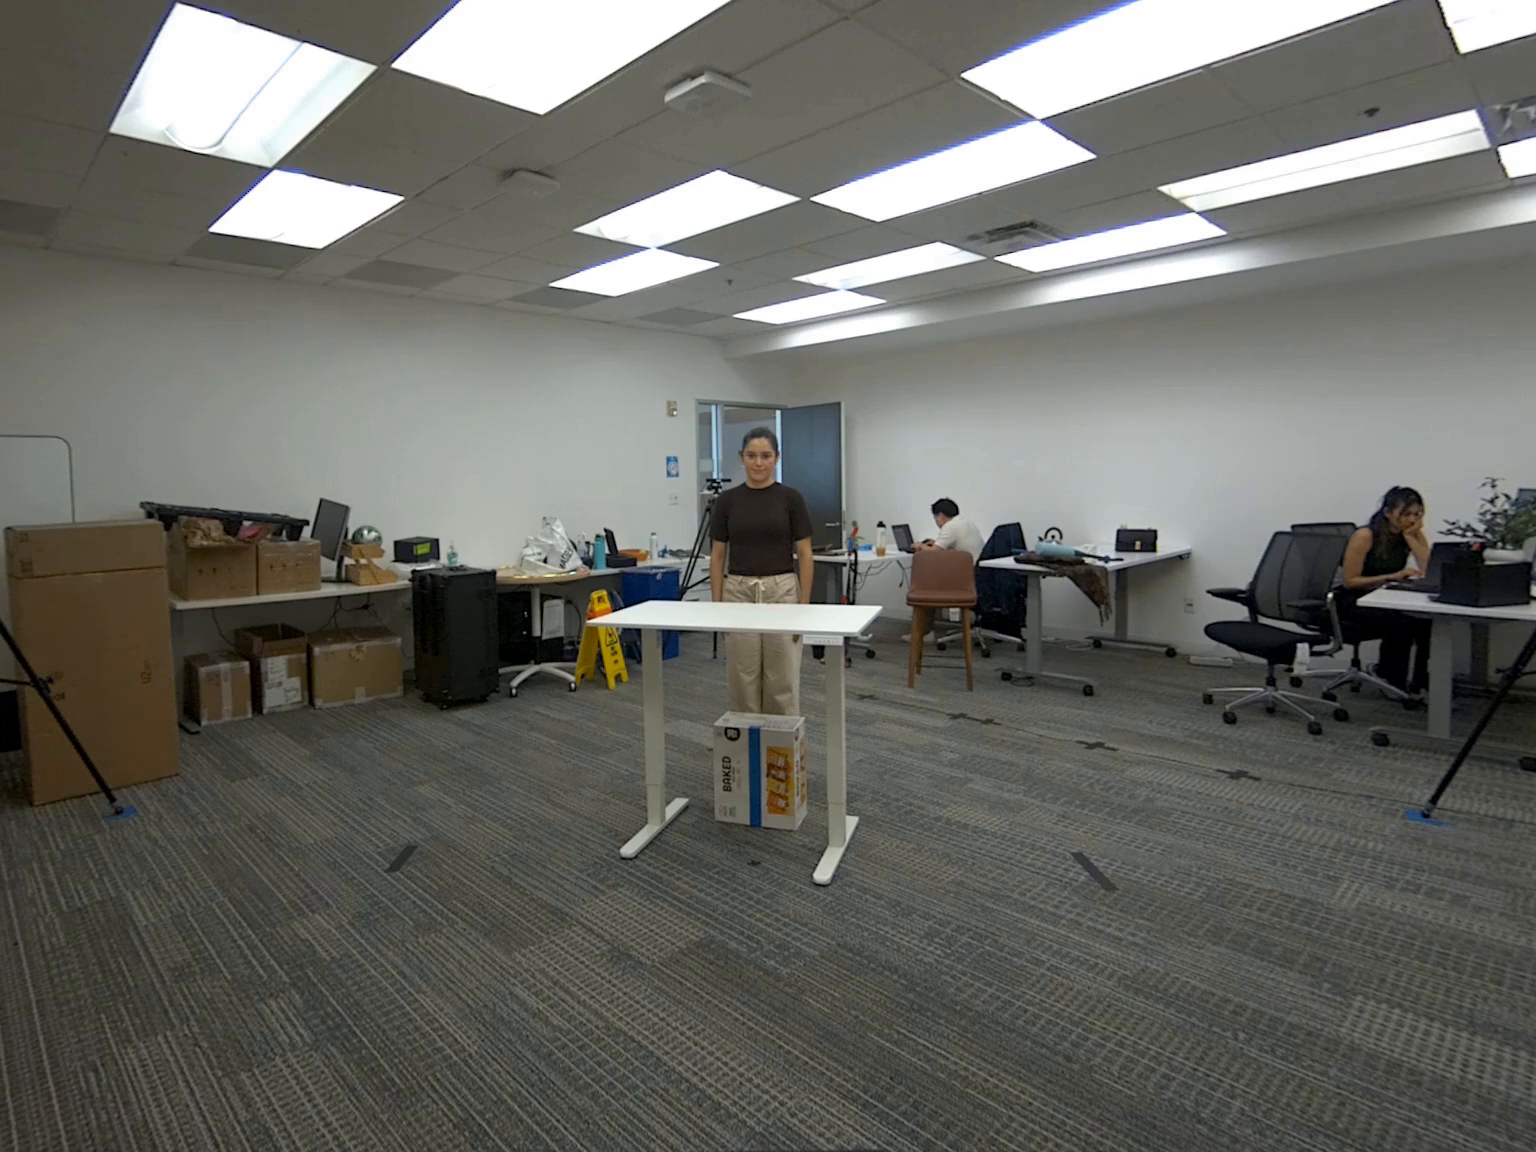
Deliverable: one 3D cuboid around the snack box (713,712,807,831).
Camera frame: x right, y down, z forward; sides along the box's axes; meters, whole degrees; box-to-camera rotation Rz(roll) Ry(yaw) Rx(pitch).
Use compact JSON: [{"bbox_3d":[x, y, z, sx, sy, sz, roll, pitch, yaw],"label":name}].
[{"bbox_3d":[-0.031,0.796,3.515,0.346,0.403,0.203,0,6,18],"label":"snack box"}]
